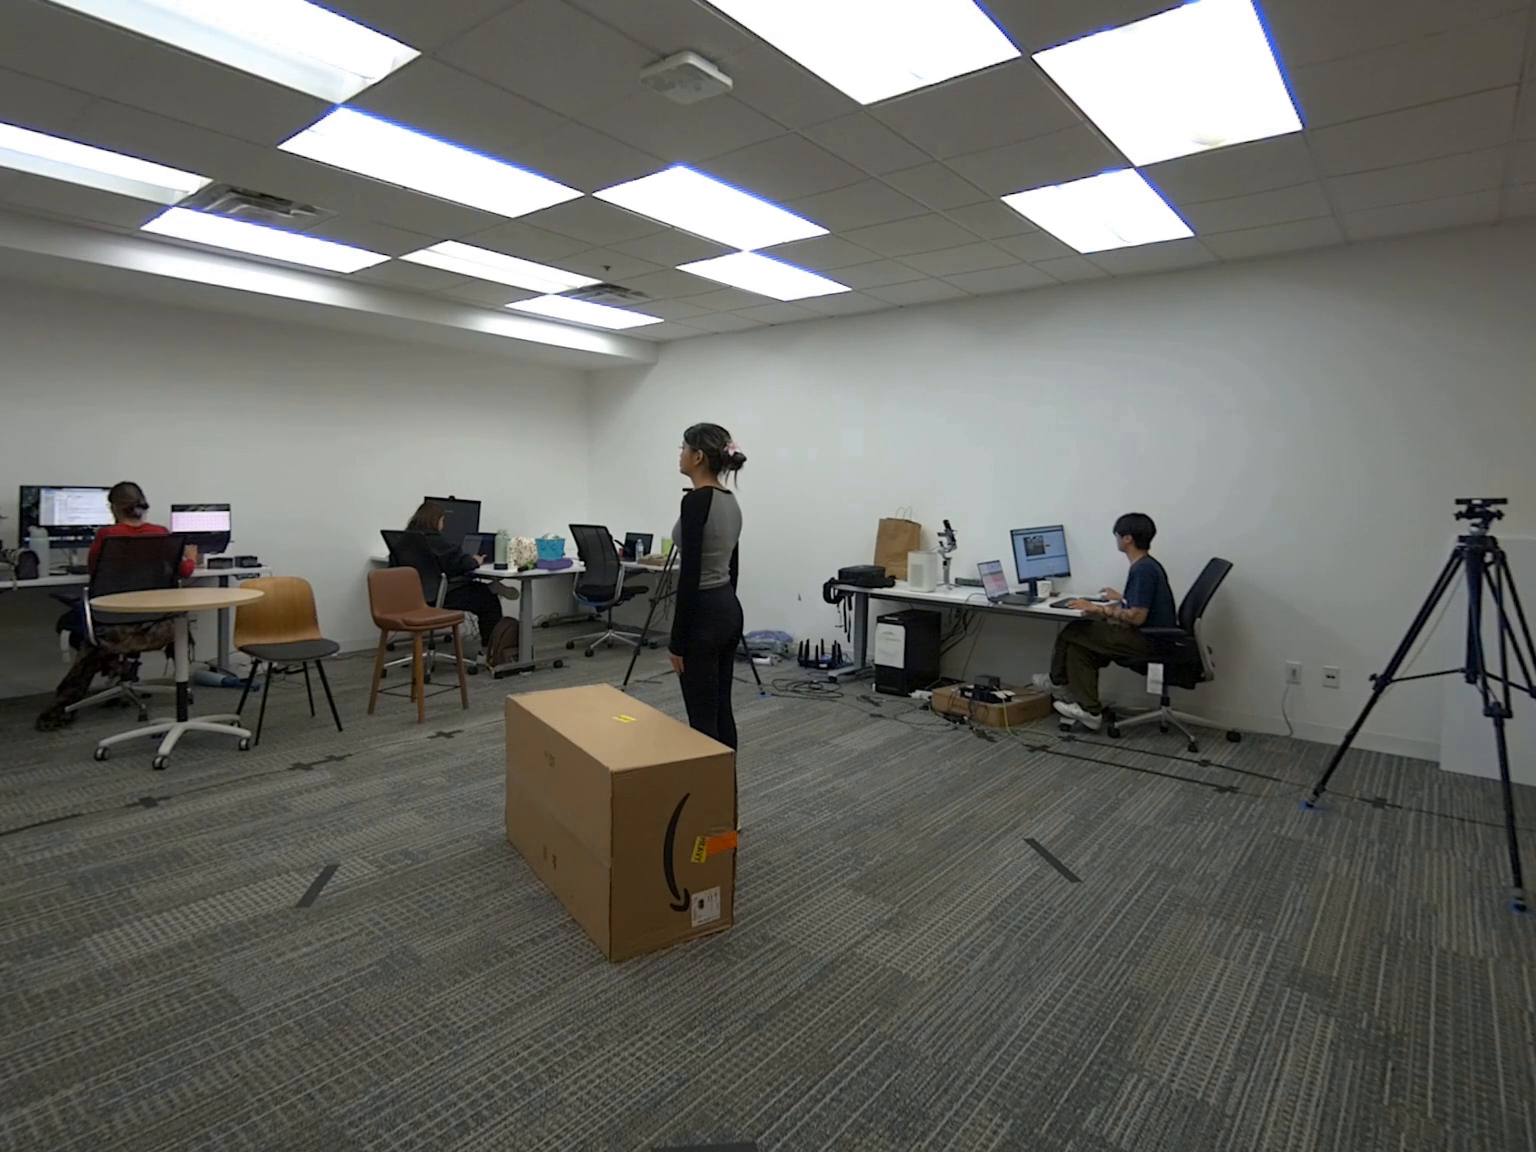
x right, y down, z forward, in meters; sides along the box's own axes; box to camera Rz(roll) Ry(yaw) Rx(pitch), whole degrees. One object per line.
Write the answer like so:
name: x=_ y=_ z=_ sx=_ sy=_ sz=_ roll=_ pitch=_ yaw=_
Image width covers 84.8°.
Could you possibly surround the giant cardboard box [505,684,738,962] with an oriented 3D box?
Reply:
giant cardboard box: x=-0.573 y=0.786 z=2.996 sx=0.434 sy=0.582 sz=1.060 roll=0 pitch=5 yaw=-33
